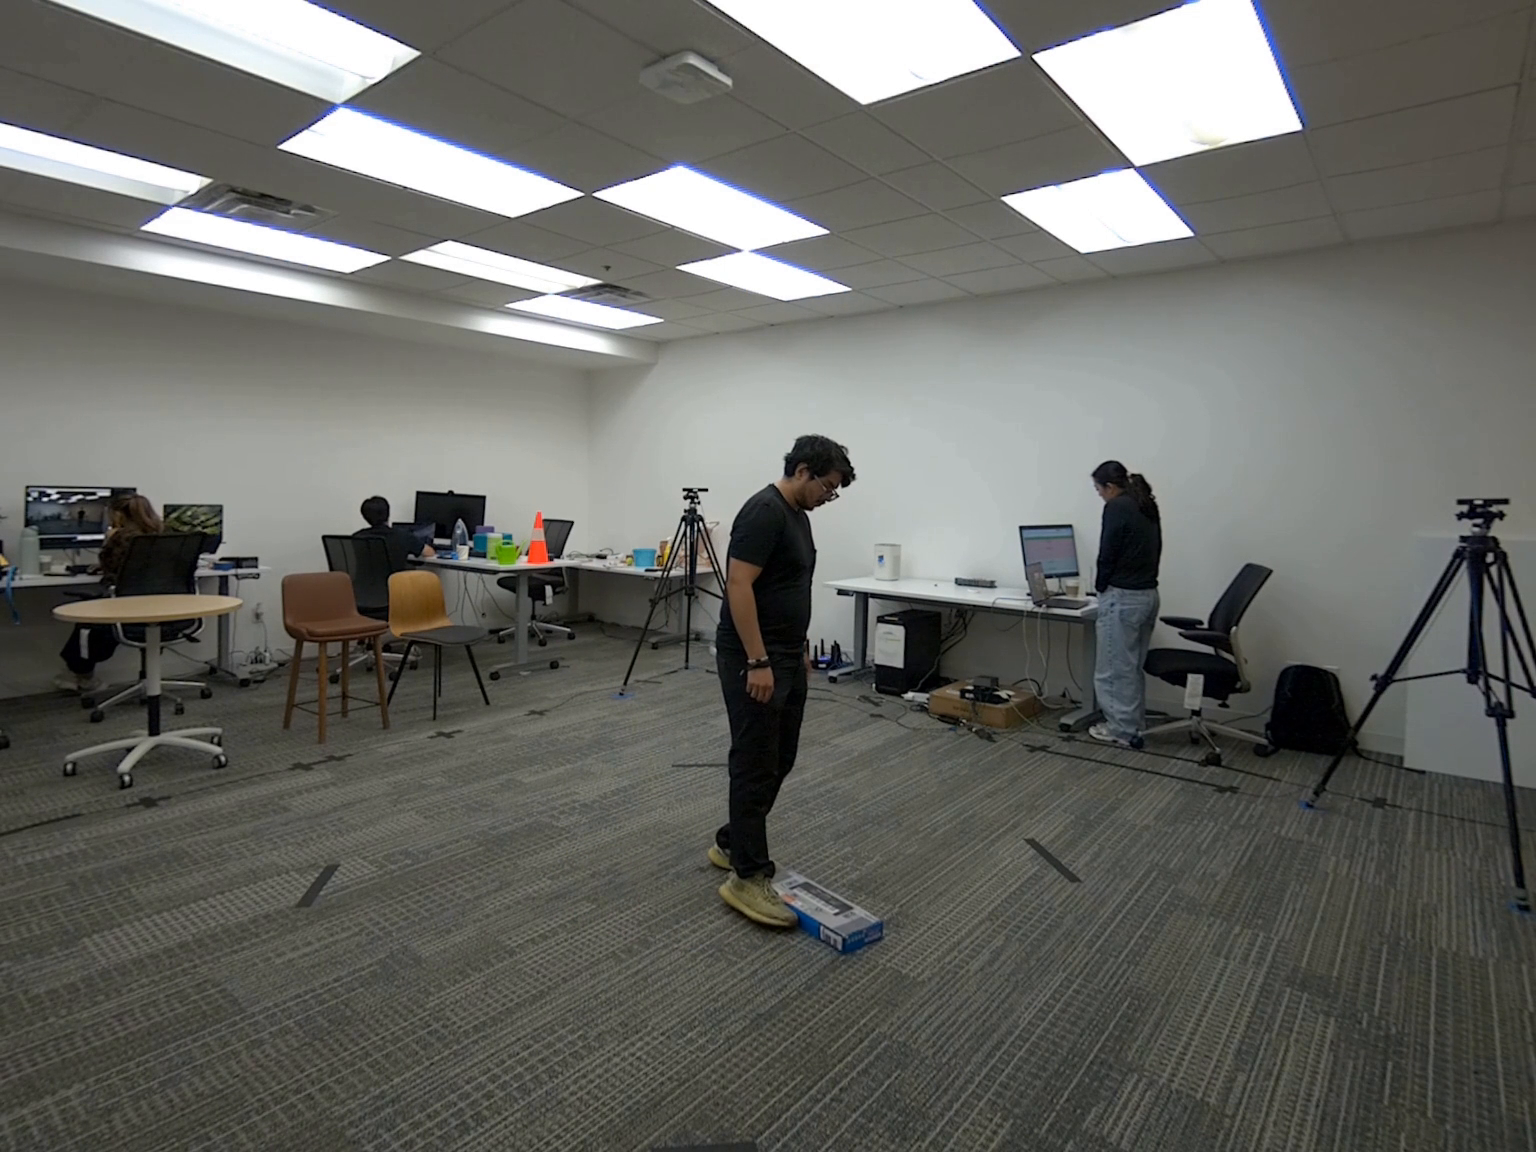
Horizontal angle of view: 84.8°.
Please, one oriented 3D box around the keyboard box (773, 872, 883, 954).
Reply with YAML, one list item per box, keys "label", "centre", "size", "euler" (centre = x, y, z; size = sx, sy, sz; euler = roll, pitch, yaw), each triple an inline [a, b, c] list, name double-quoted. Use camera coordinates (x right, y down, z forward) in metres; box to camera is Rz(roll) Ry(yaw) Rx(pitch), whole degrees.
- label: "keyboard box"
  centre: [0.144, 1.078, 2.771]
  size: [0.171, 0.059, 0.452]
  euler: [-4, 8, -38]
